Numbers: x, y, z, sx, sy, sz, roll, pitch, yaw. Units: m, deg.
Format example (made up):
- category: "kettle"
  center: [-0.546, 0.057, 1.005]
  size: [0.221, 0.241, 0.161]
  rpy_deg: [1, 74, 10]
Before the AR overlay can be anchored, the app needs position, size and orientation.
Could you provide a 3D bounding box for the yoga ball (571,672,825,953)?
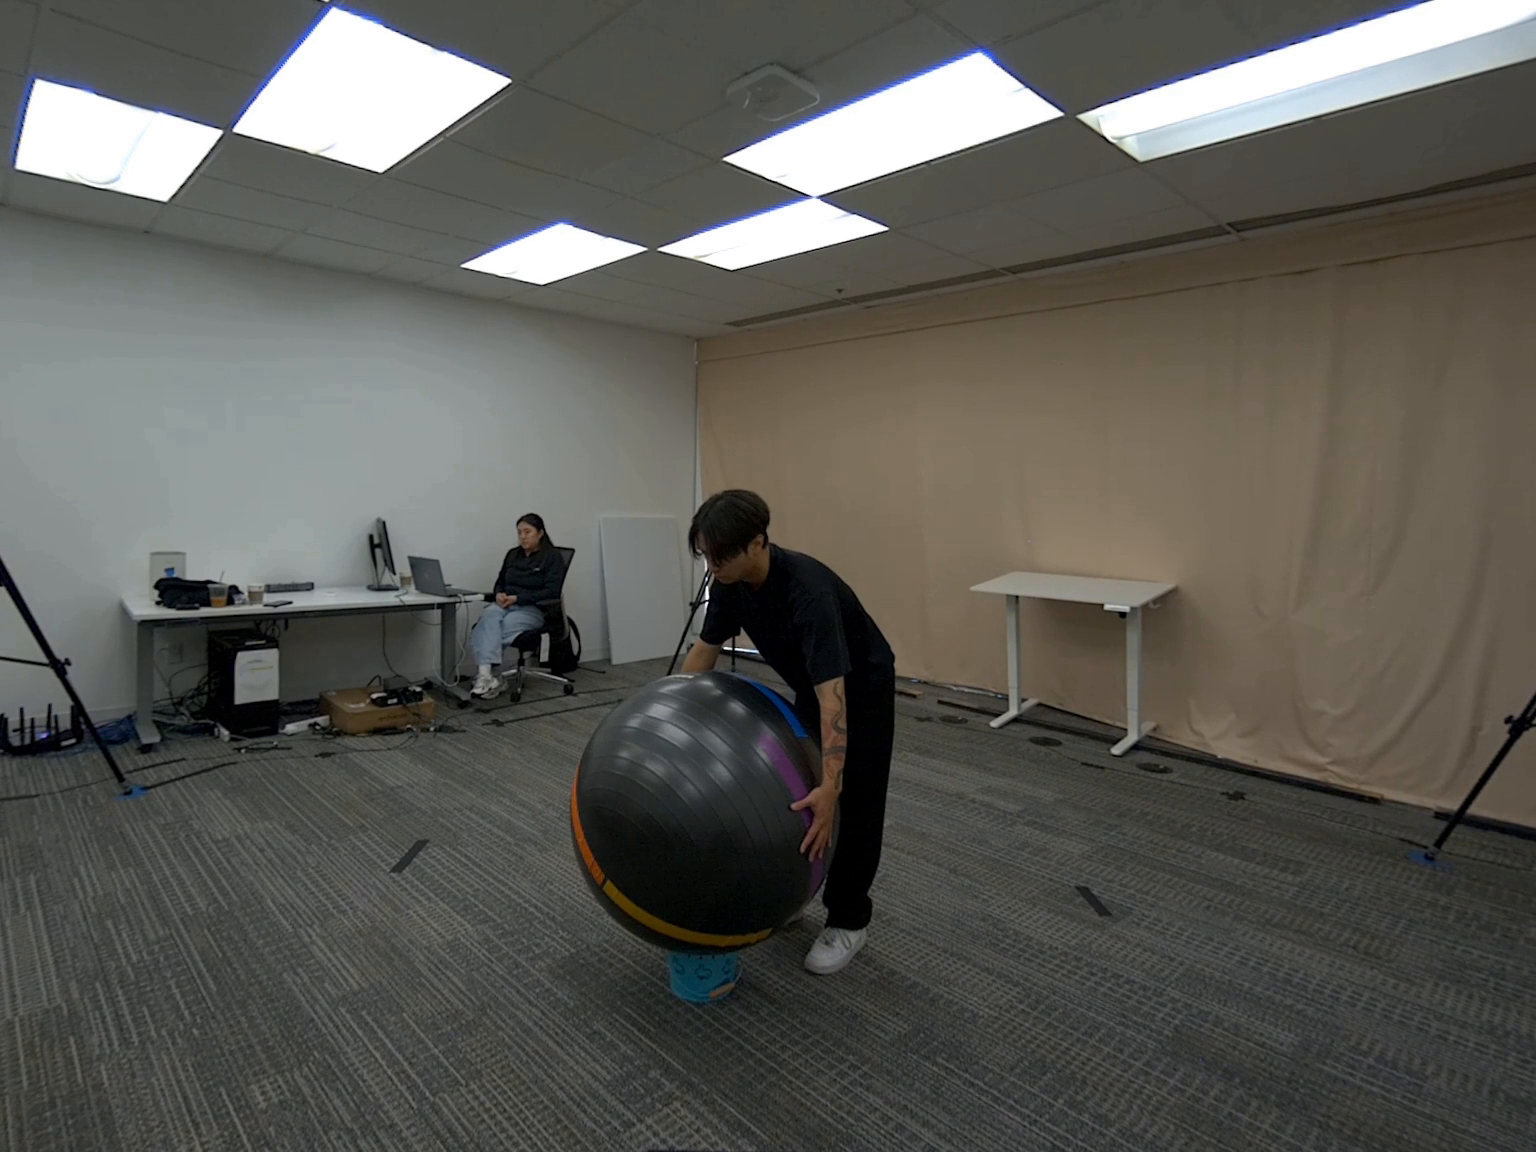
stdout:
- category: "yoga ball"
  center: [-0.188, 0.657, 2.382]
  size: [0.757, 0.756, 0.761]
  rpy_deg: [1, 4, -1]
